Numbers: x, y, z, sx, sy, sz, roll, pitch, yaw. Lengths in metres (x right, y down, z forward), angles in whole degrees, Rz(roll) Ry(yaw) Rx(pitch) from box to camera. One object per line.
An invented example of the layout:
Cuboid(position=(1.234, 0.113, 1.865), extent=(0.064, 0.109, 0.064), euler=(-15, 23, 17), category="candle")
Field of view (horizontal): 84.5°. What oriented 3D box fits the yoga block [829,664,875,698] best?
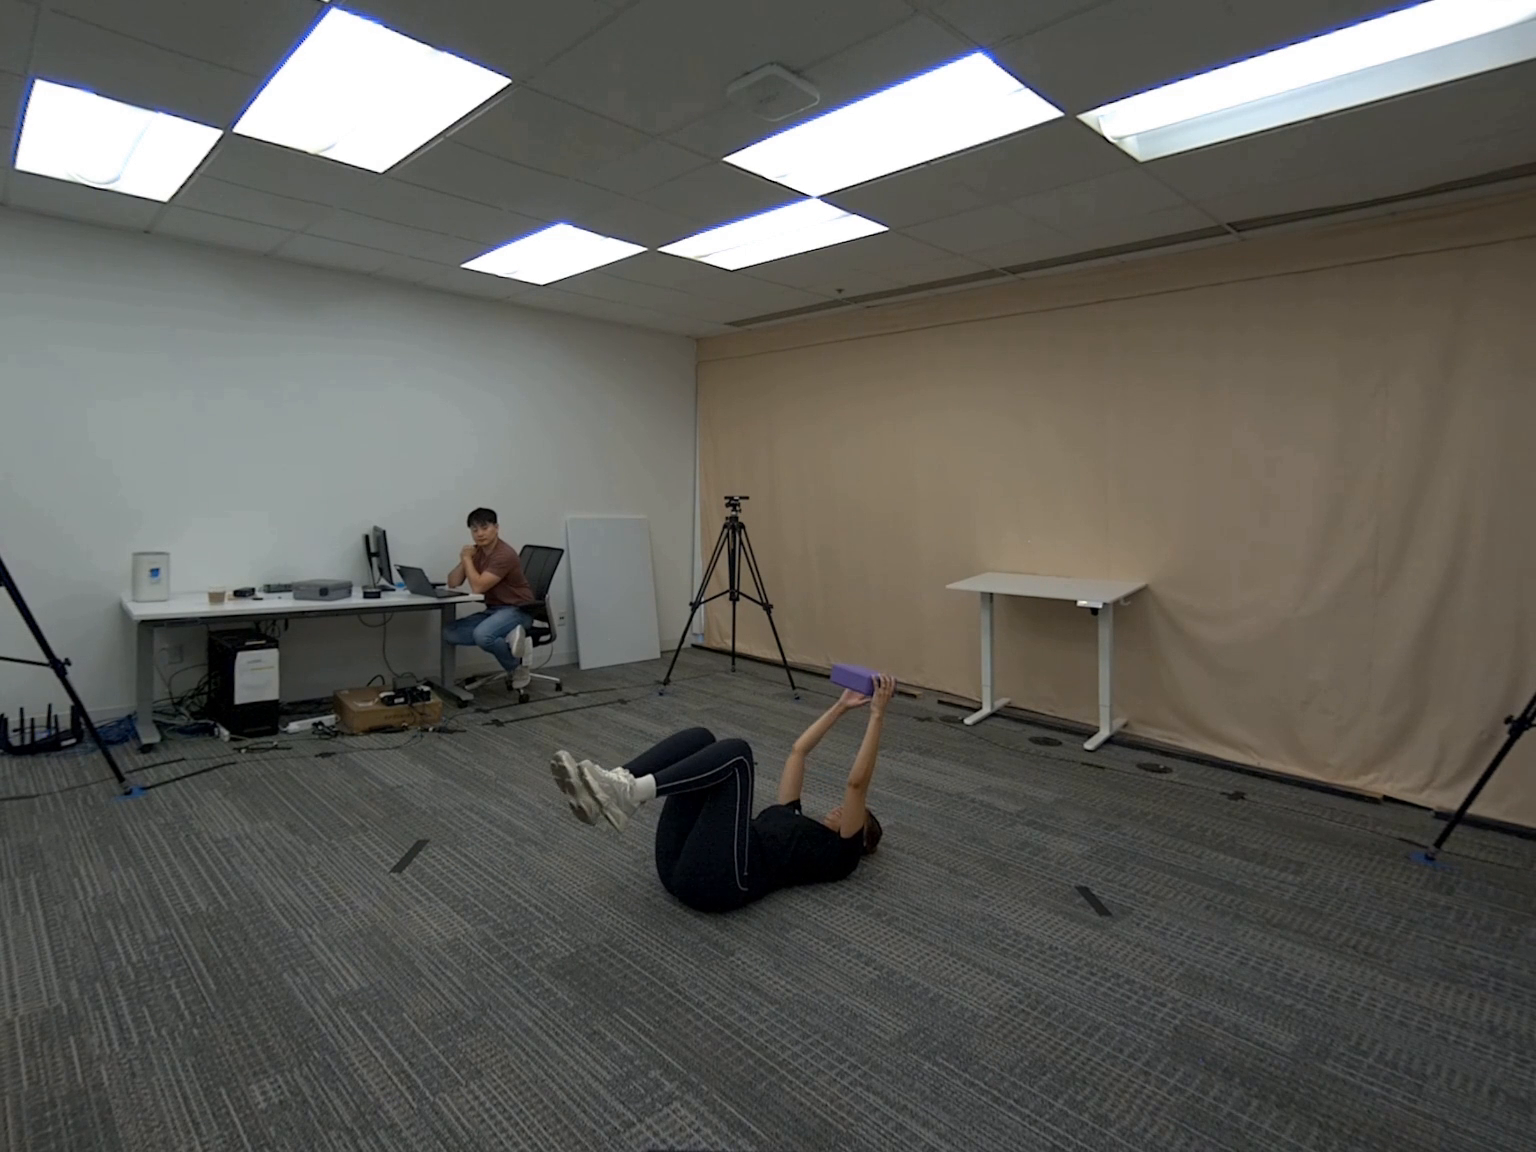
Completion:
Cuboid(position=(0.373, 0.404, 3.239), extent=(0.145, 0.076, 0.235), euler=(8, 2, -31), category="yoga block")
